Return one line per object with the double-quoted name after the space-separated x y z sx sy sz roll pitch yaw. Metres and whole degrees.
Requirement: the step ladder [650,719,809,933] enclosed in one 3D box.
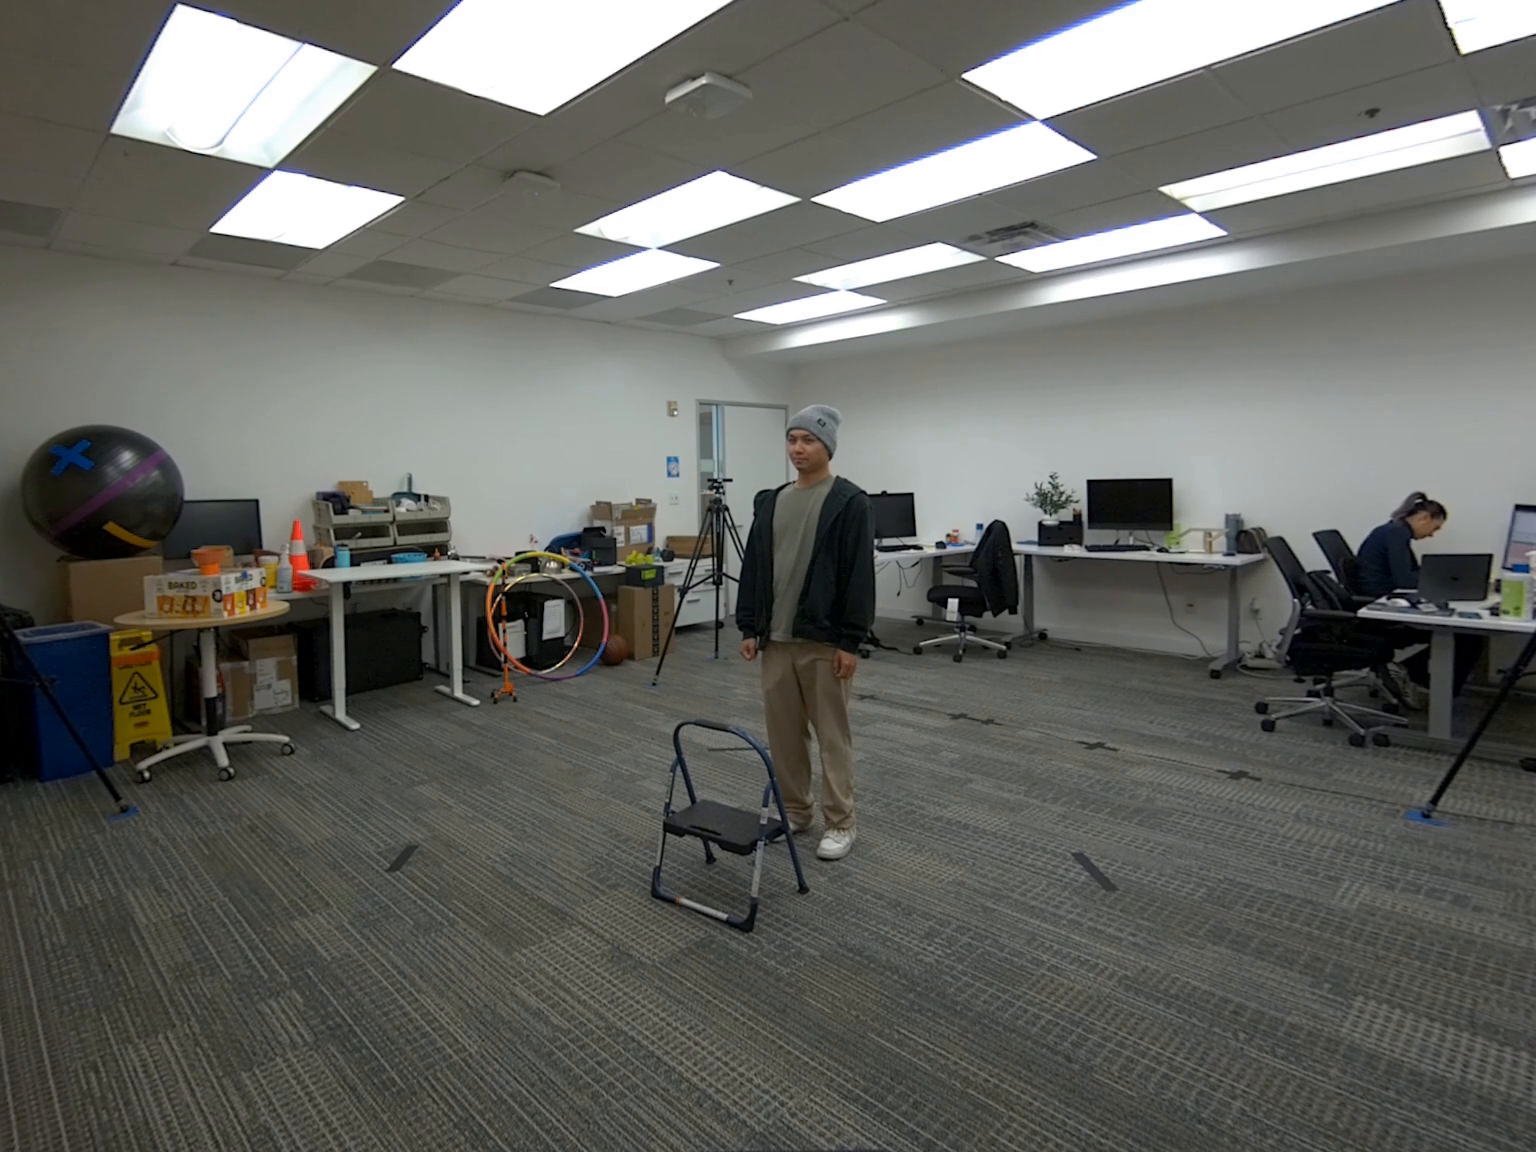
-0.136 0.770 2.866 0.443 0.604 0.341 2 5 35 "step ladder"
